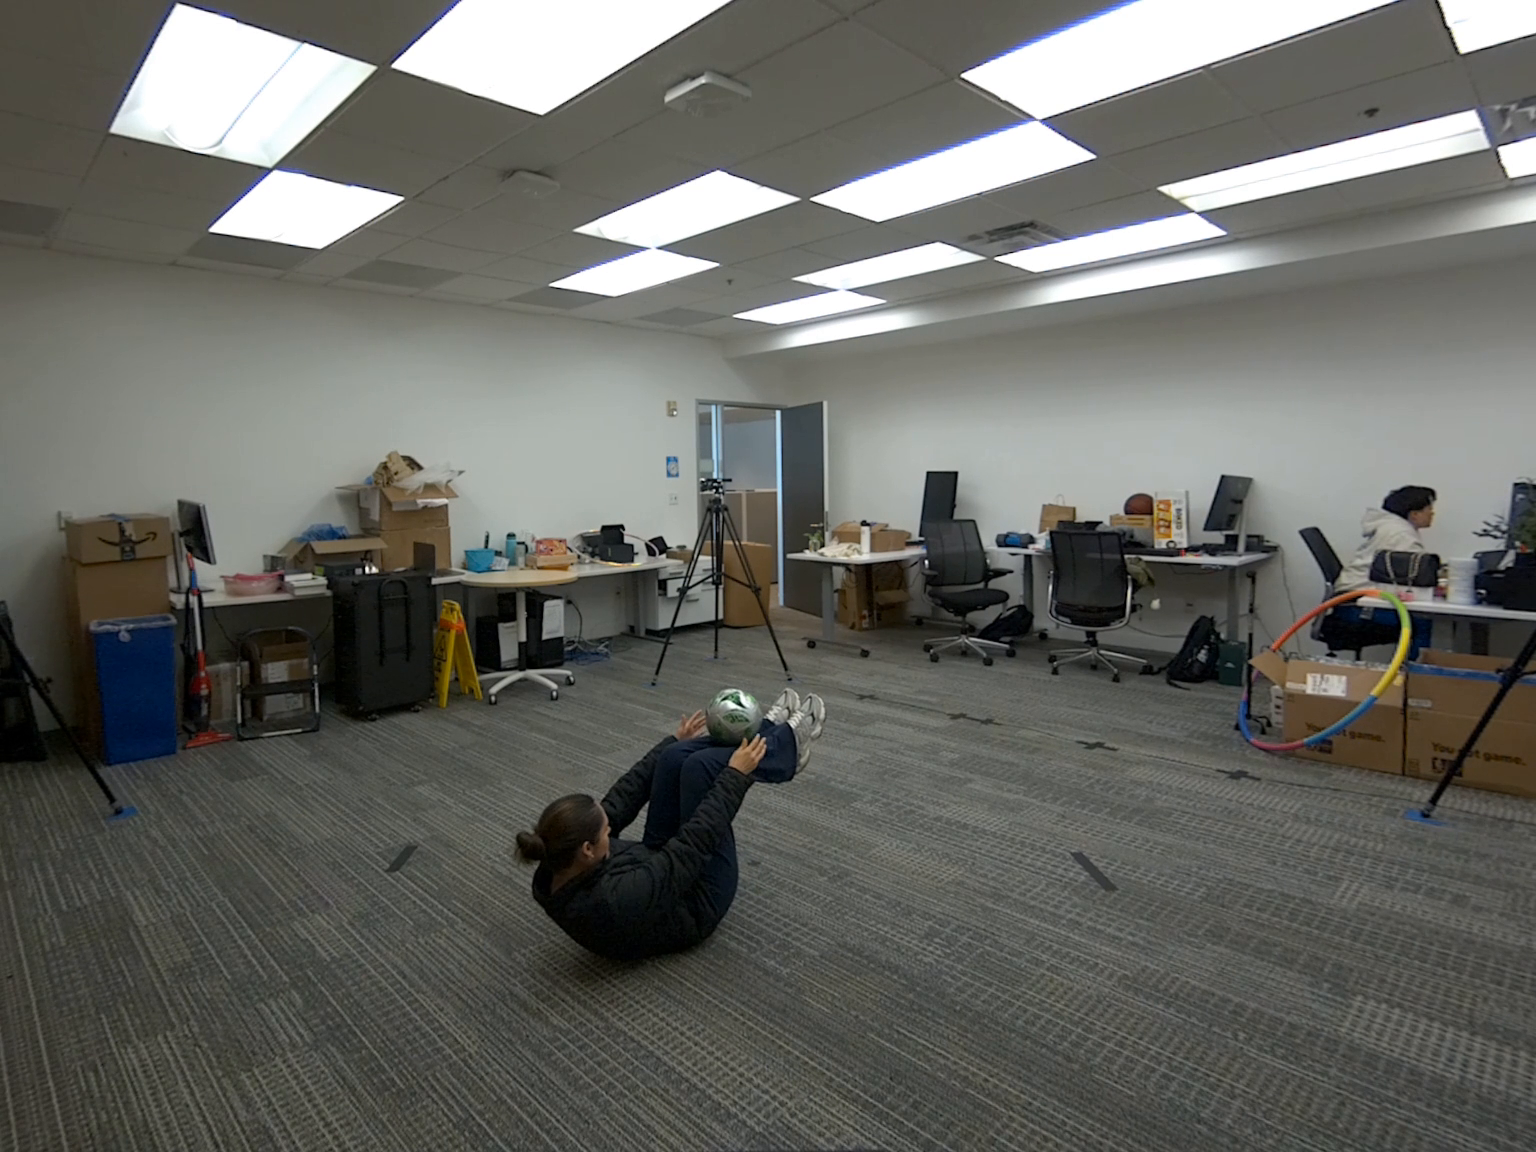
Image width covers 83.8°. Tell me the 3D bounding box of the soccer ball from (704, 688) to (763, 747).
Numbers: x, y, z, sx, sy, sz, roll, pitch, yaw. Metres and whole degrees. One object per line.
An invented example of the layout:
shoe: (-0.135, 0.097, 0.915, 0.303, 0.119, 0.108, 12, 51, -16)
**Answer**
soccer ball: (-0.109, 0.460, 2.801, 0.187, 0.187, 0.188, 0, 1, -2)
